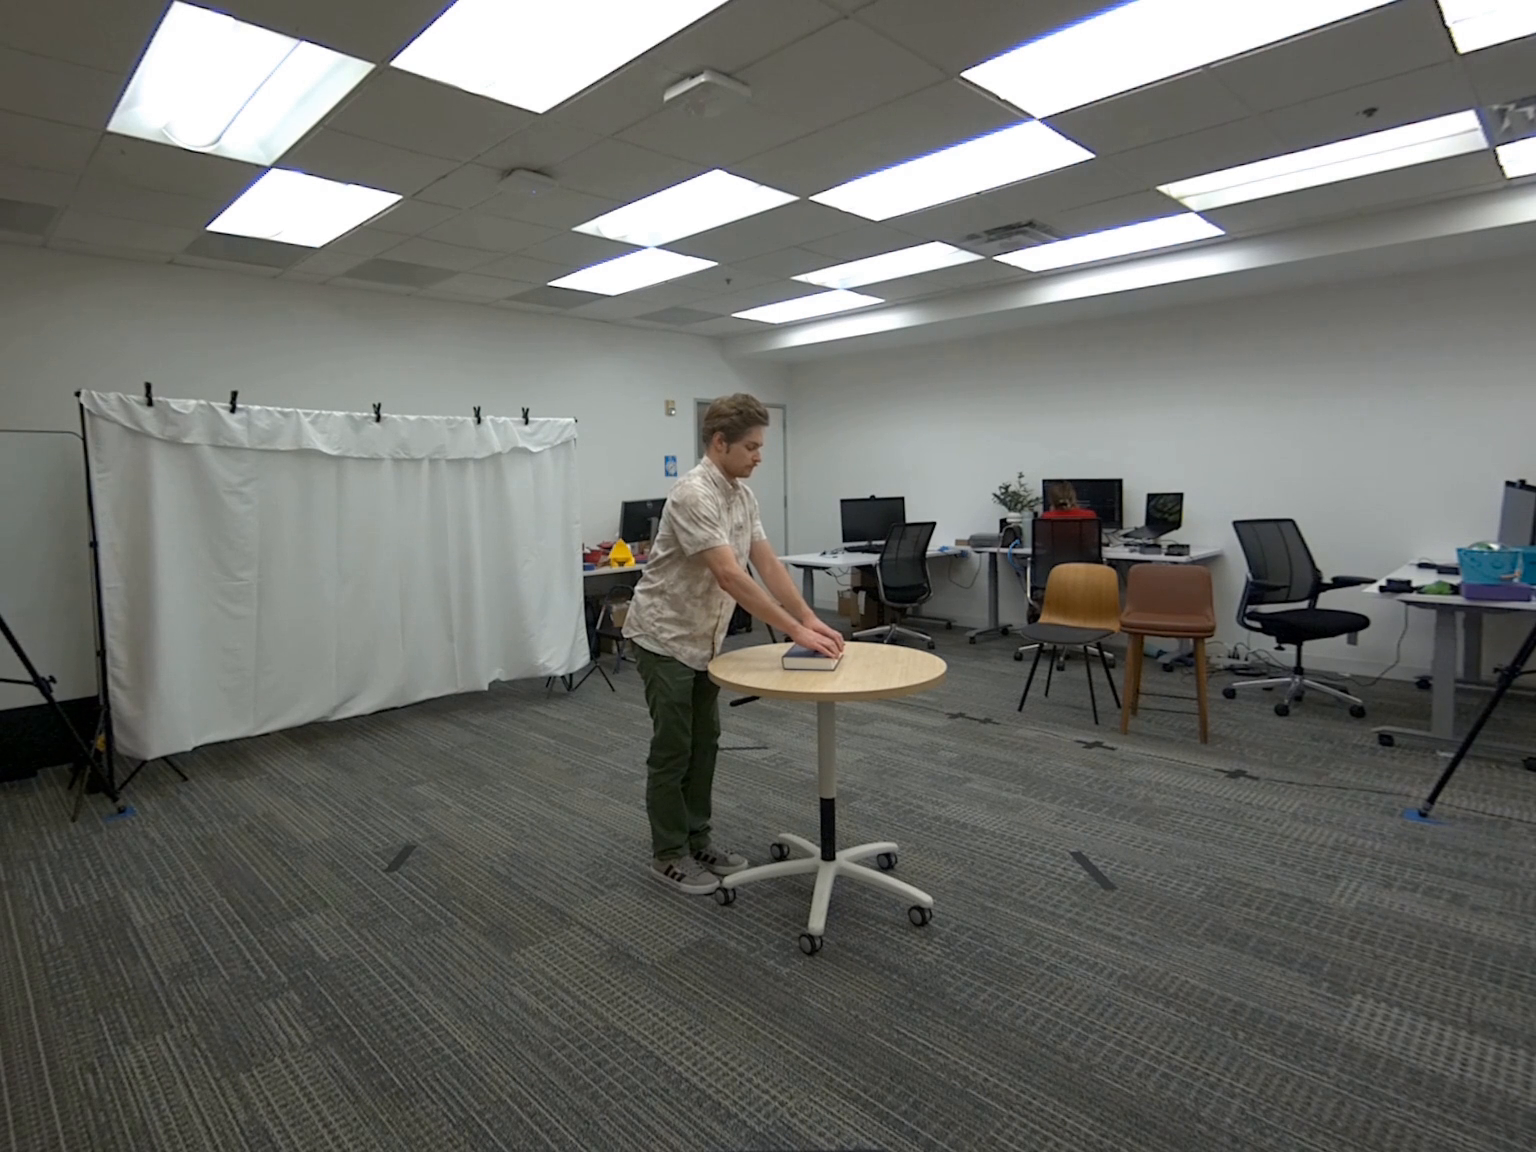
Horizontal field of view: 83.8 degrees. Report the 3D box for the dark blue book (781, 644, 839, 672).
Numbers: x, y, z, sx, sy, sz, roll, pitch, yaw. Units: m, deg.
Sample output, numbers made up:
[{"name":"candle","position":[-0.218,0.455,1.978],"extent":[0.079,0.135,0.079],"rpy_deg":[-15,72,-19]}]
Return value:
[{"name":"dark blue book","position":[0.156,0.261,2.793],"extent":[0.165,0.045,0.243],"rpy_deg":[0,6,12]}]
